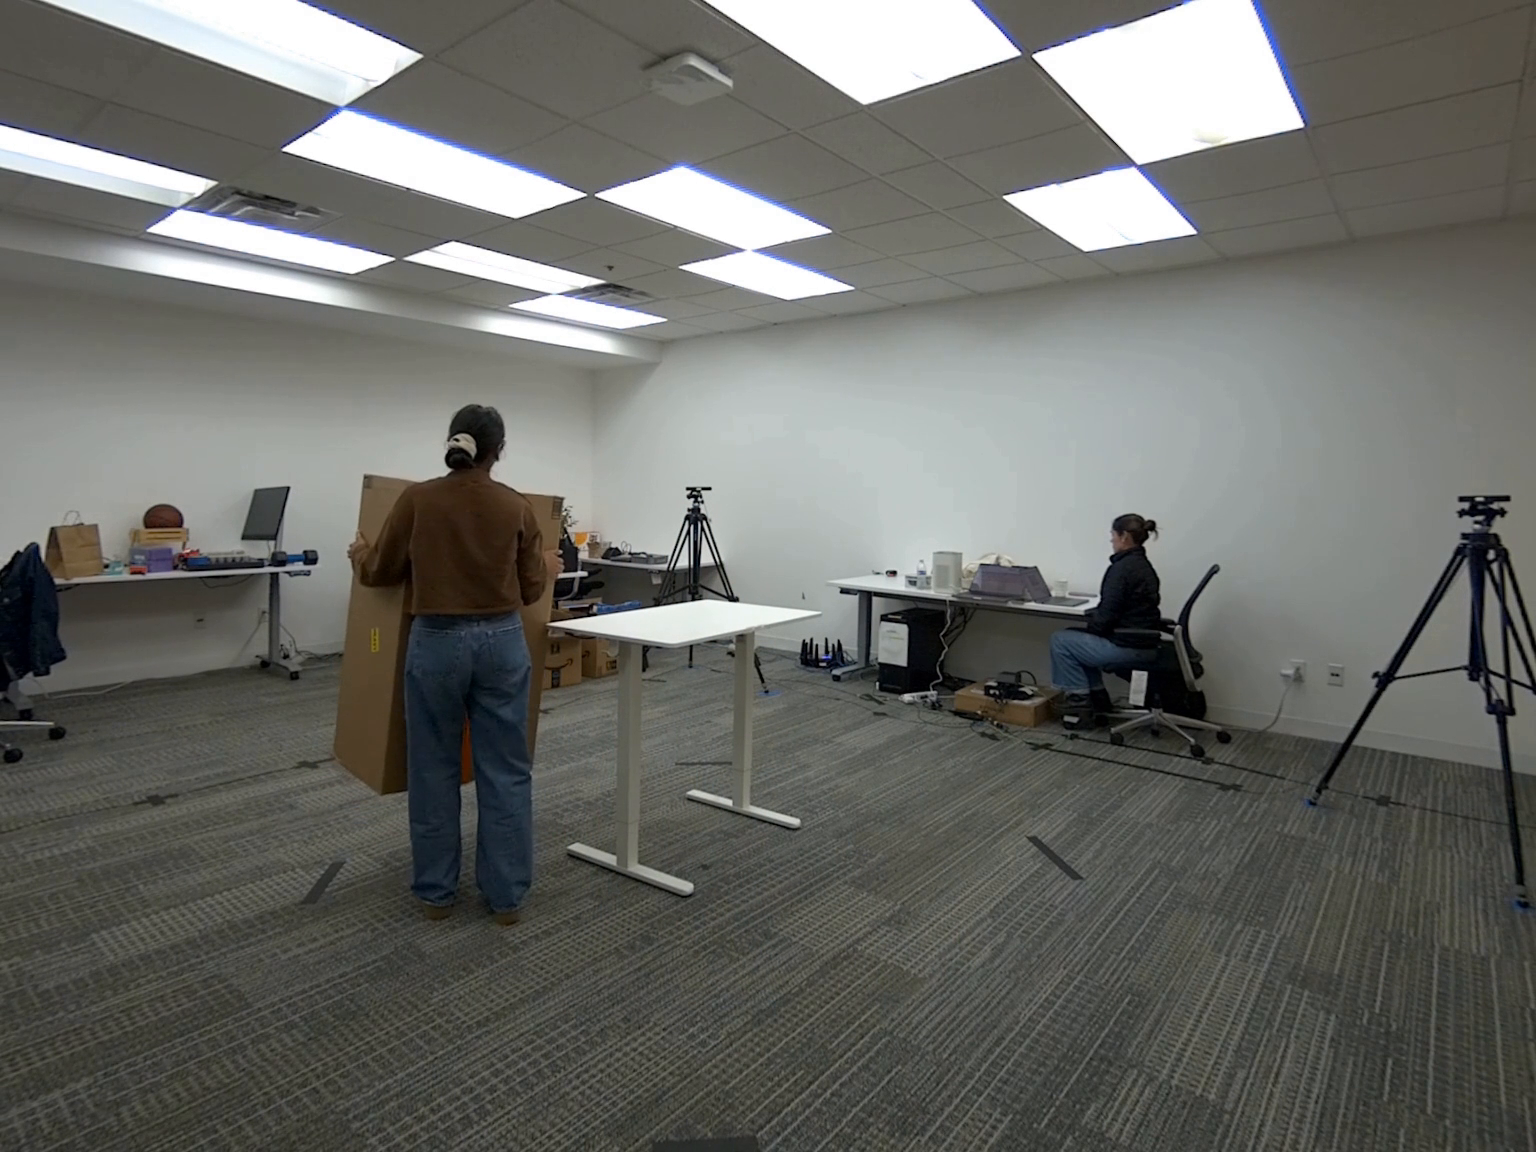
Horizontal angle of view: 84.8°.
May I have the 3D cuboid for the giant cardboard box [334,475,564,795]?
[{"bbox_3d":[-1.158,0.180,3.071,0.442,1.024,0.558,9,3,43],"label":"giant cardboard box"}]
